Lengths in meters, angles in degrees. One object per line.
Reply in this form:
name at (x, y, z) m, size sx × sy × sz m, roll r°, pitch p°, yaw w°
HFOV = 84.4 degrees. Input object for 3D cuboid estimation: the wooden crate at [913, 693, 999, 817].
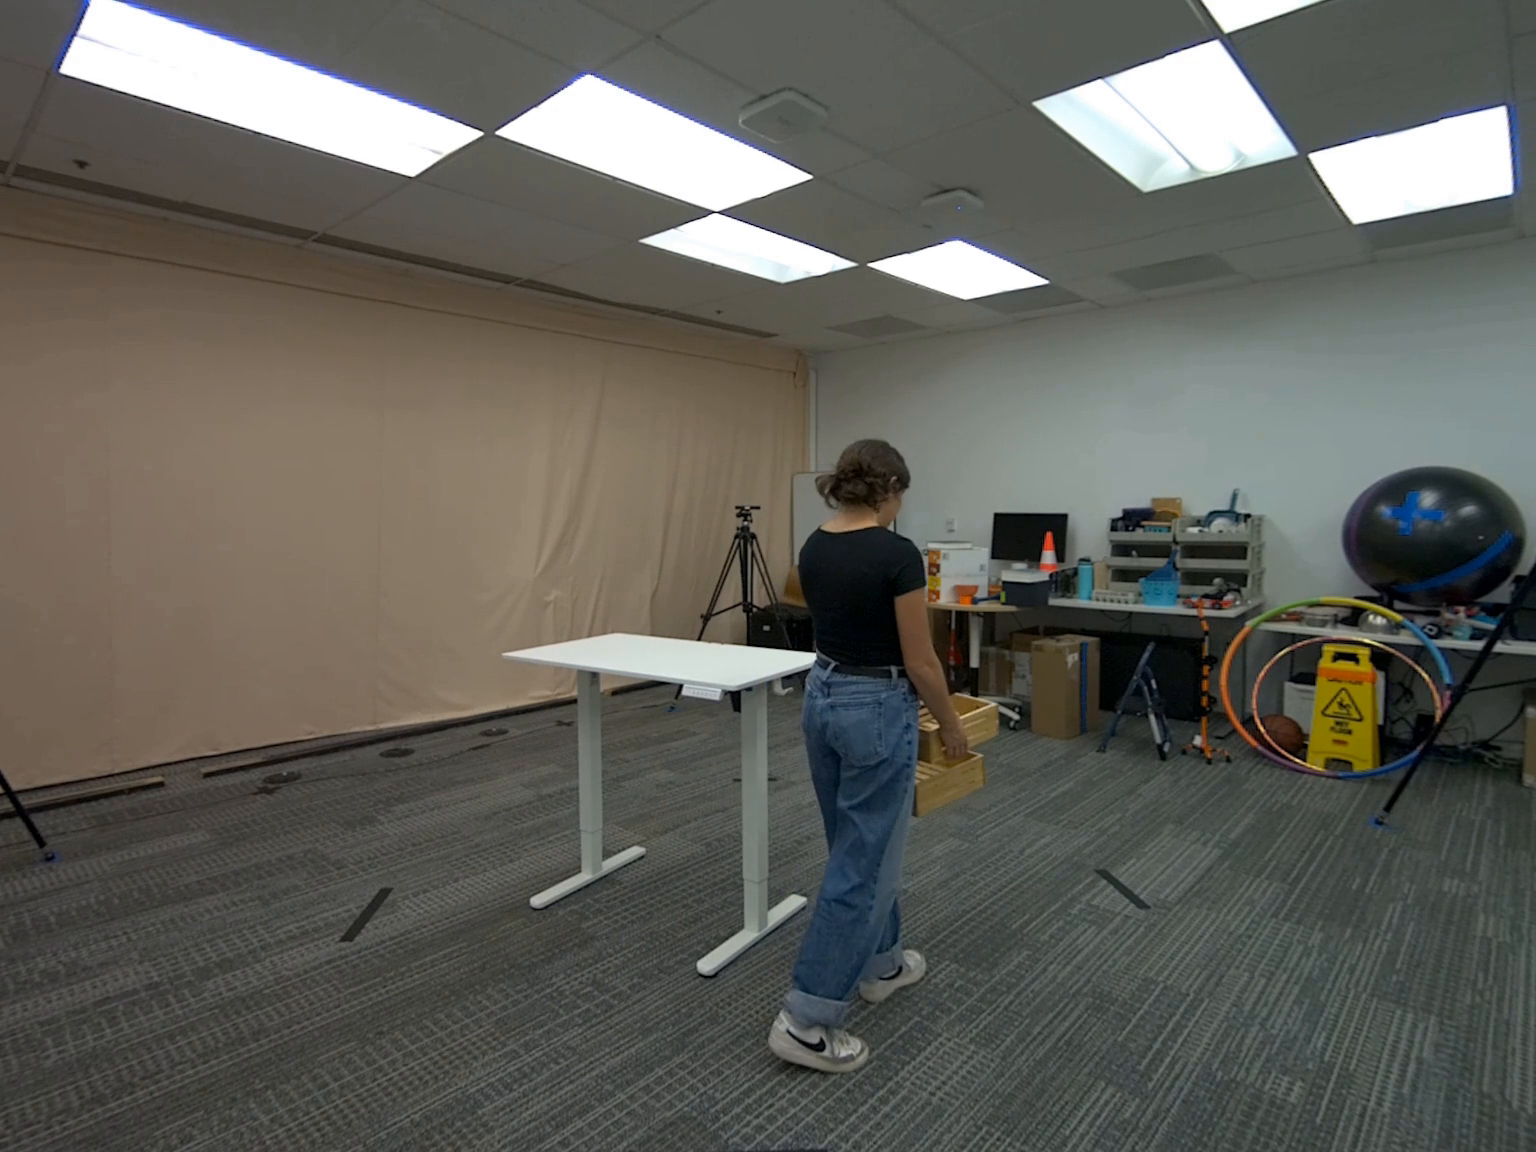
wooden crate at (0.461, 0.495, 2.446) m, size 0.316 × 0.271 × 0.312 m, roll -12°, pitch 13°, yaw -37°
